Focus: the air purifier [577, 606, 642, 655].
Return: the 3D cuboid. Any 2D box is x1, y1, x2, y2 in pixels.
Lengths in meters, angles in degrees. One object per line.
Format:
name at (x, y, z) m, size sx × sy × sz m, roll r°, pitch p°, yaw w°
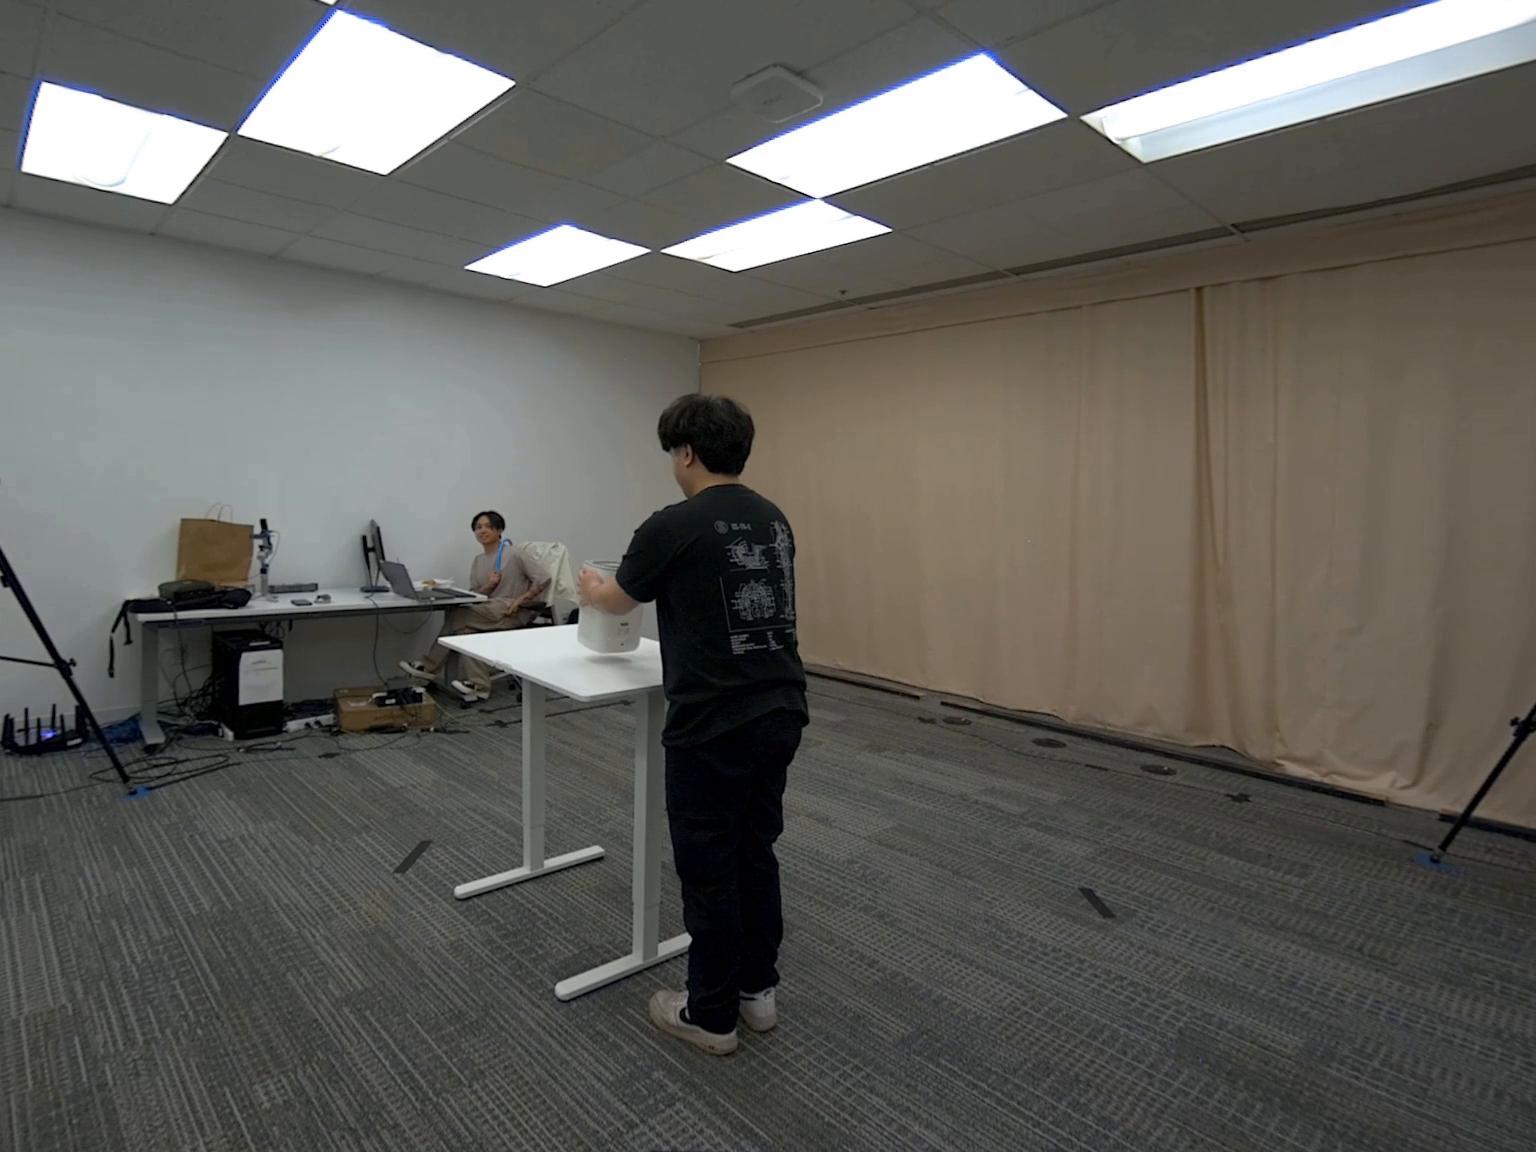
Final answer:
air purifier at (-0.479, 0.100, 2.606) m, size 0.167 × 0.264 × 0.176 m, roll 0°, pitch 8°, yaw -44°
